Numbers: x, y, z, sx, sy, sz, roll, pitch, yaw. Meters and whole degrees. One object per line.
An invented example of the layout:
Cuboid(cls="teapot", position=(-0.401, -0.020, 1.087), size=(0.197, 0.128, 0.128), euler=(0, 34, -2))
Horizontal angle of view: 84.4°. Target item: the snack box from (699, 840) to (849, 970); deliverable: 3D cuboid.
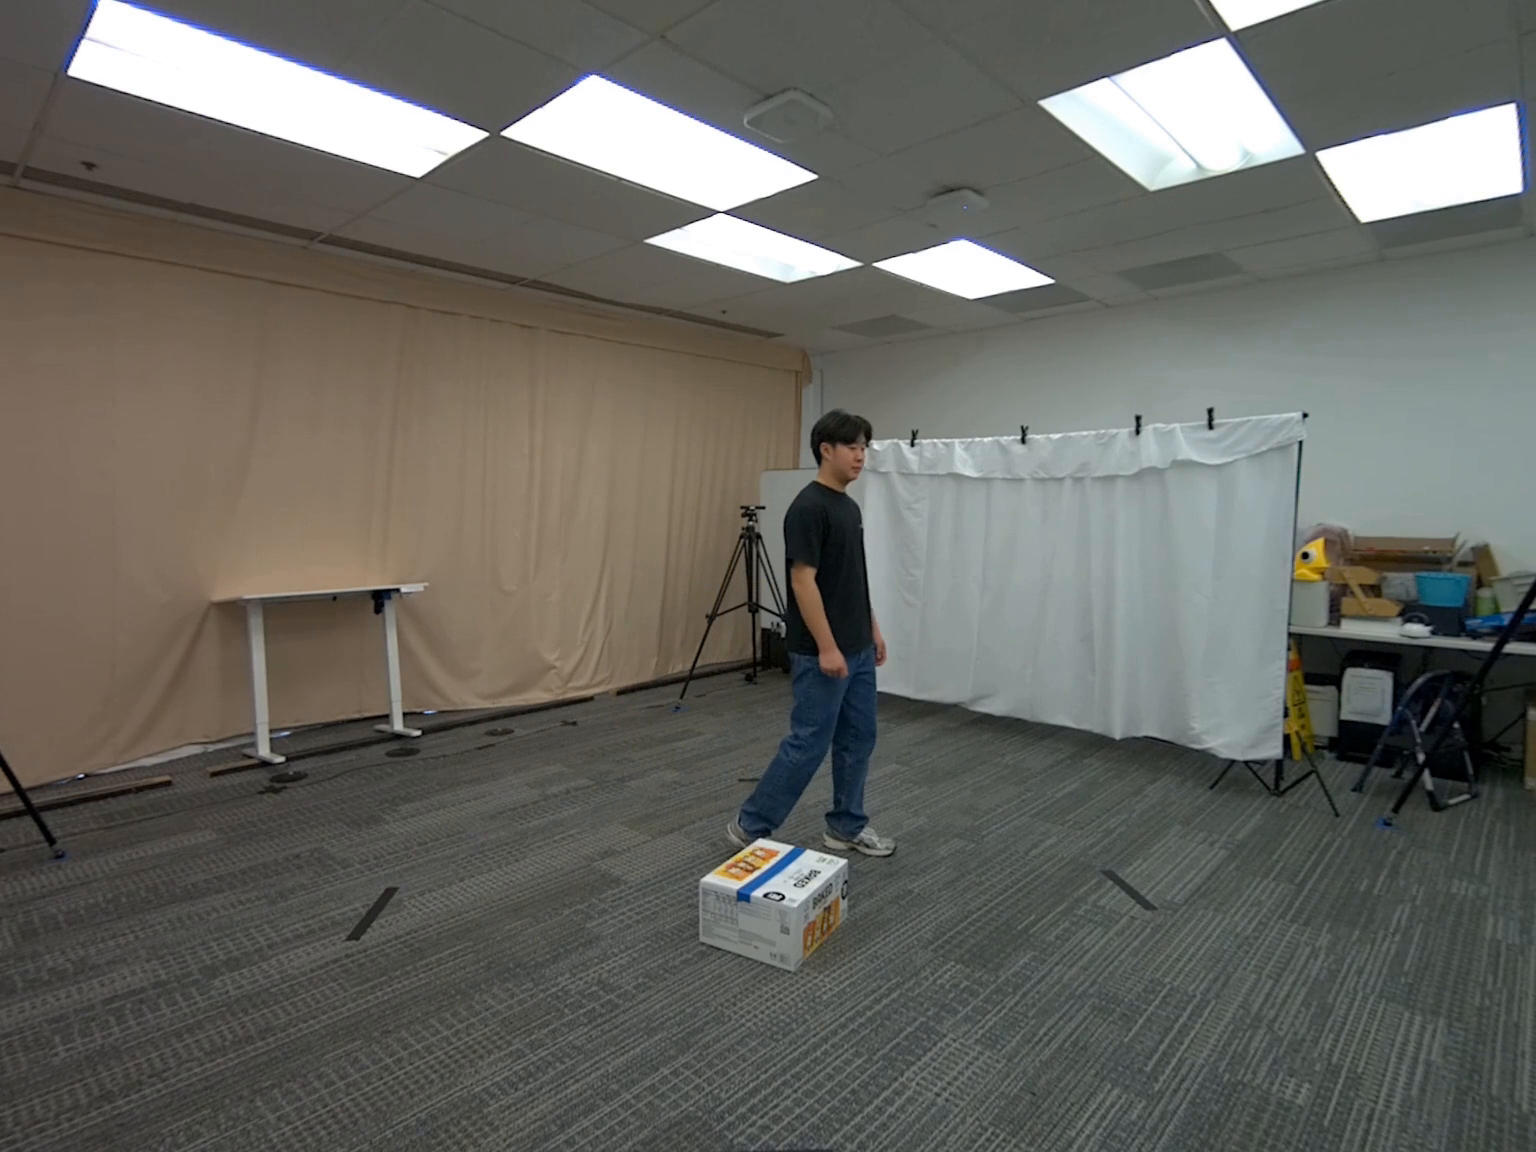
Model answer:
Cuboid(cls="snack box", position=(0.029, 1.062, 2.754), size=(0.350, 0.205, 0.394), euler=(2, 5, 30))
